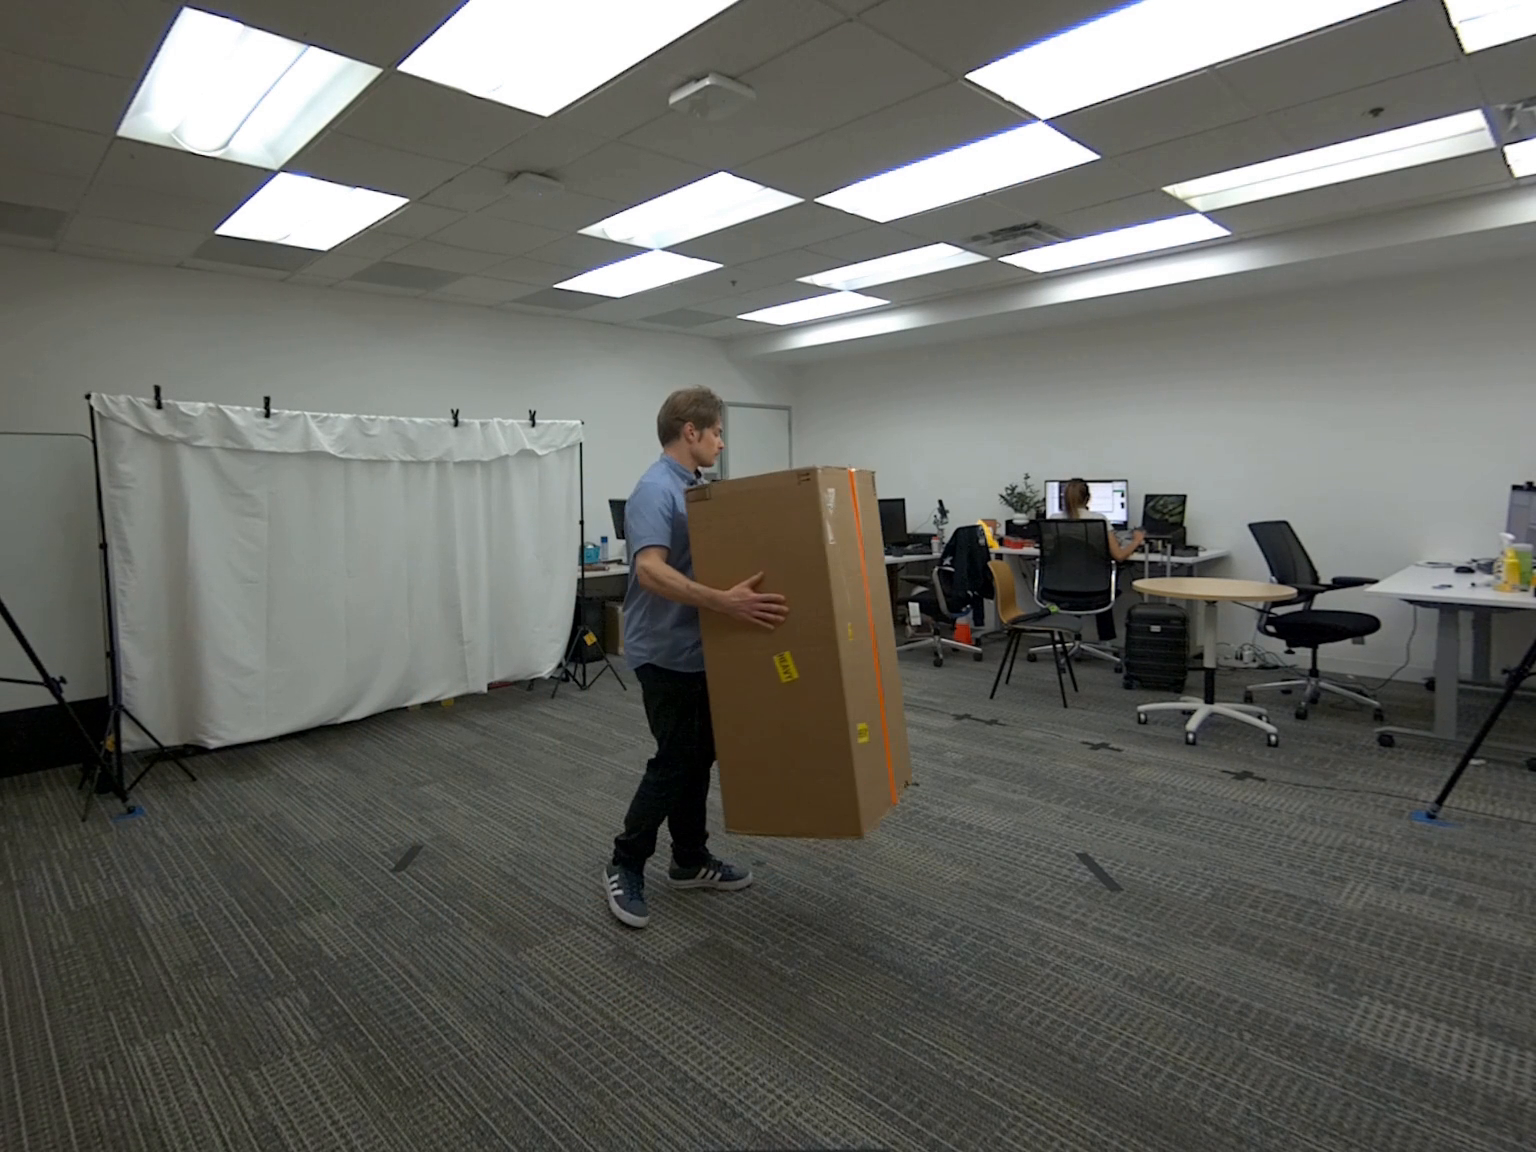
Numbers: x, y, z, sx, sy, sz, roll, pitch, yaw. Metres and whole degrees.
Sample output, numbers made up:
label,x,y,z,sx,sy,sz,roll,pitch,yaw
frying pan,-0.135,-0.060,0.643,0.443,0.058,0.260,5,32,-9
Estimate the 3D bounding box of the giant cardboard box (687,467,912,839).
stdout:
label,x,y,z,sx,sy,sz,roll,pitch,yaw
giant cardboard box,0.113,0.203,2.656,0.435,1.027,0.565,-8,0,26
